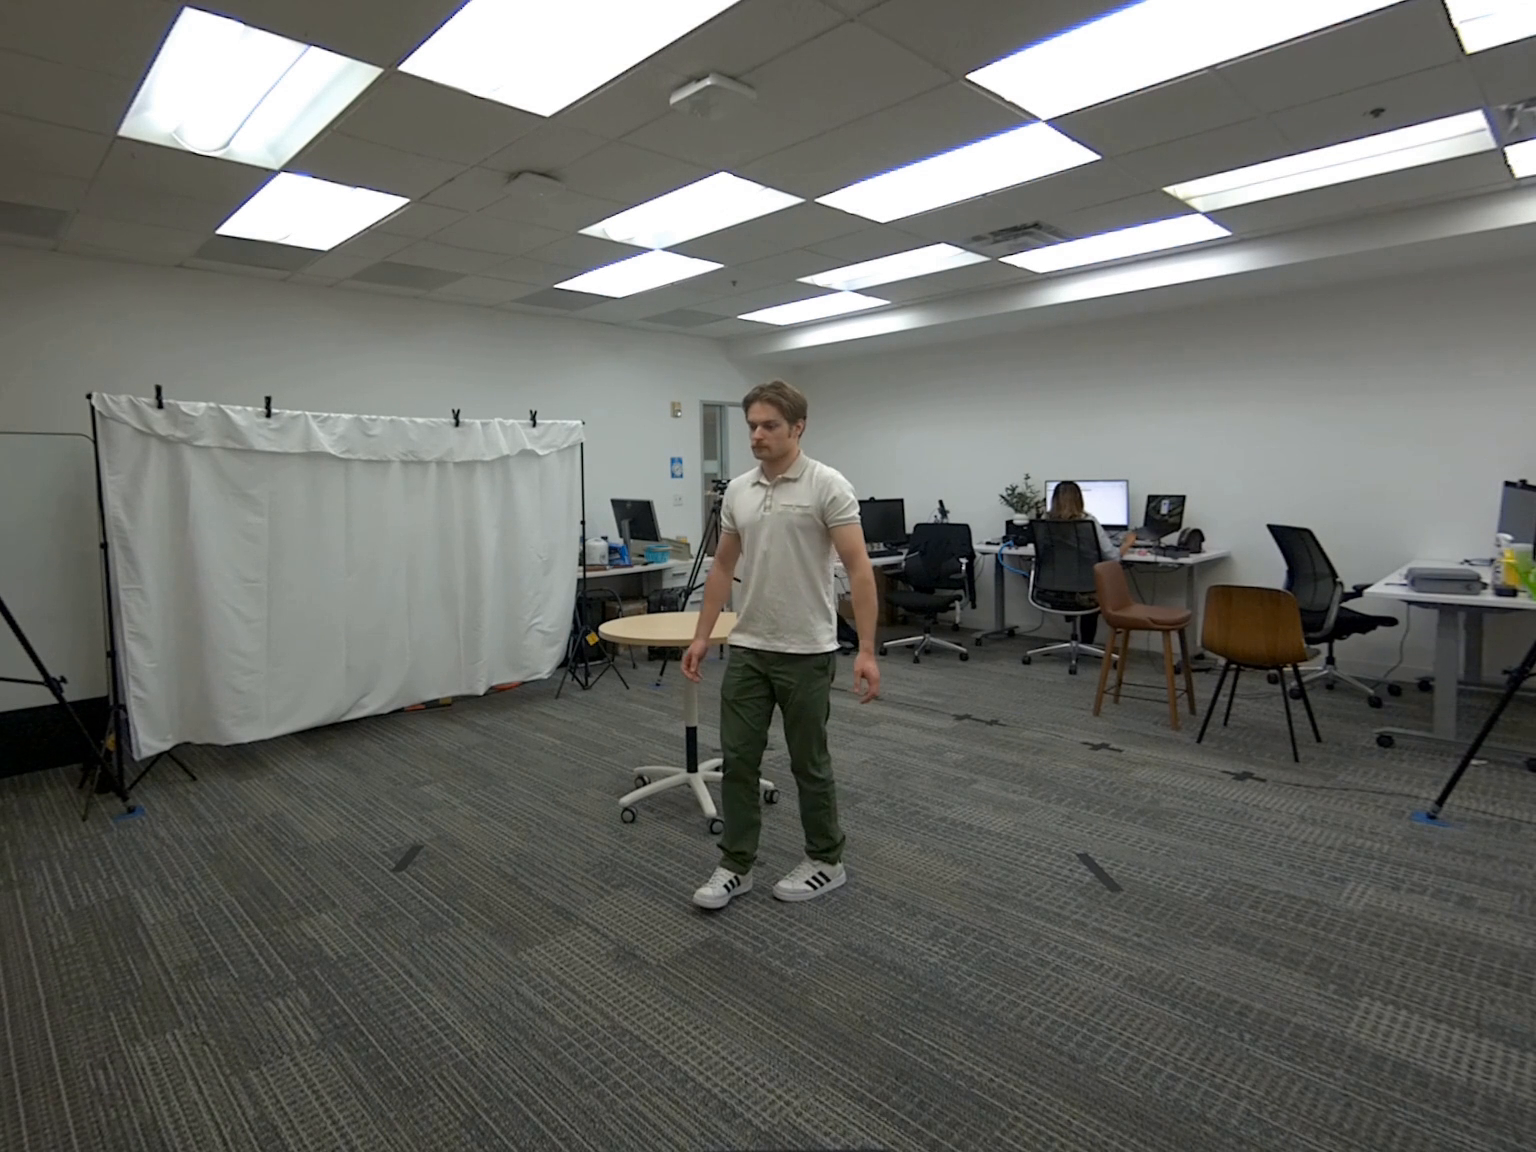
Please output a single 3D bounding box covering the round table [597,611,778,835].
[{"bbox_3d":[-0.336,0.600,3.688,0.763,0.791,0.767,-2,4,-2],"label":"round table"}]
